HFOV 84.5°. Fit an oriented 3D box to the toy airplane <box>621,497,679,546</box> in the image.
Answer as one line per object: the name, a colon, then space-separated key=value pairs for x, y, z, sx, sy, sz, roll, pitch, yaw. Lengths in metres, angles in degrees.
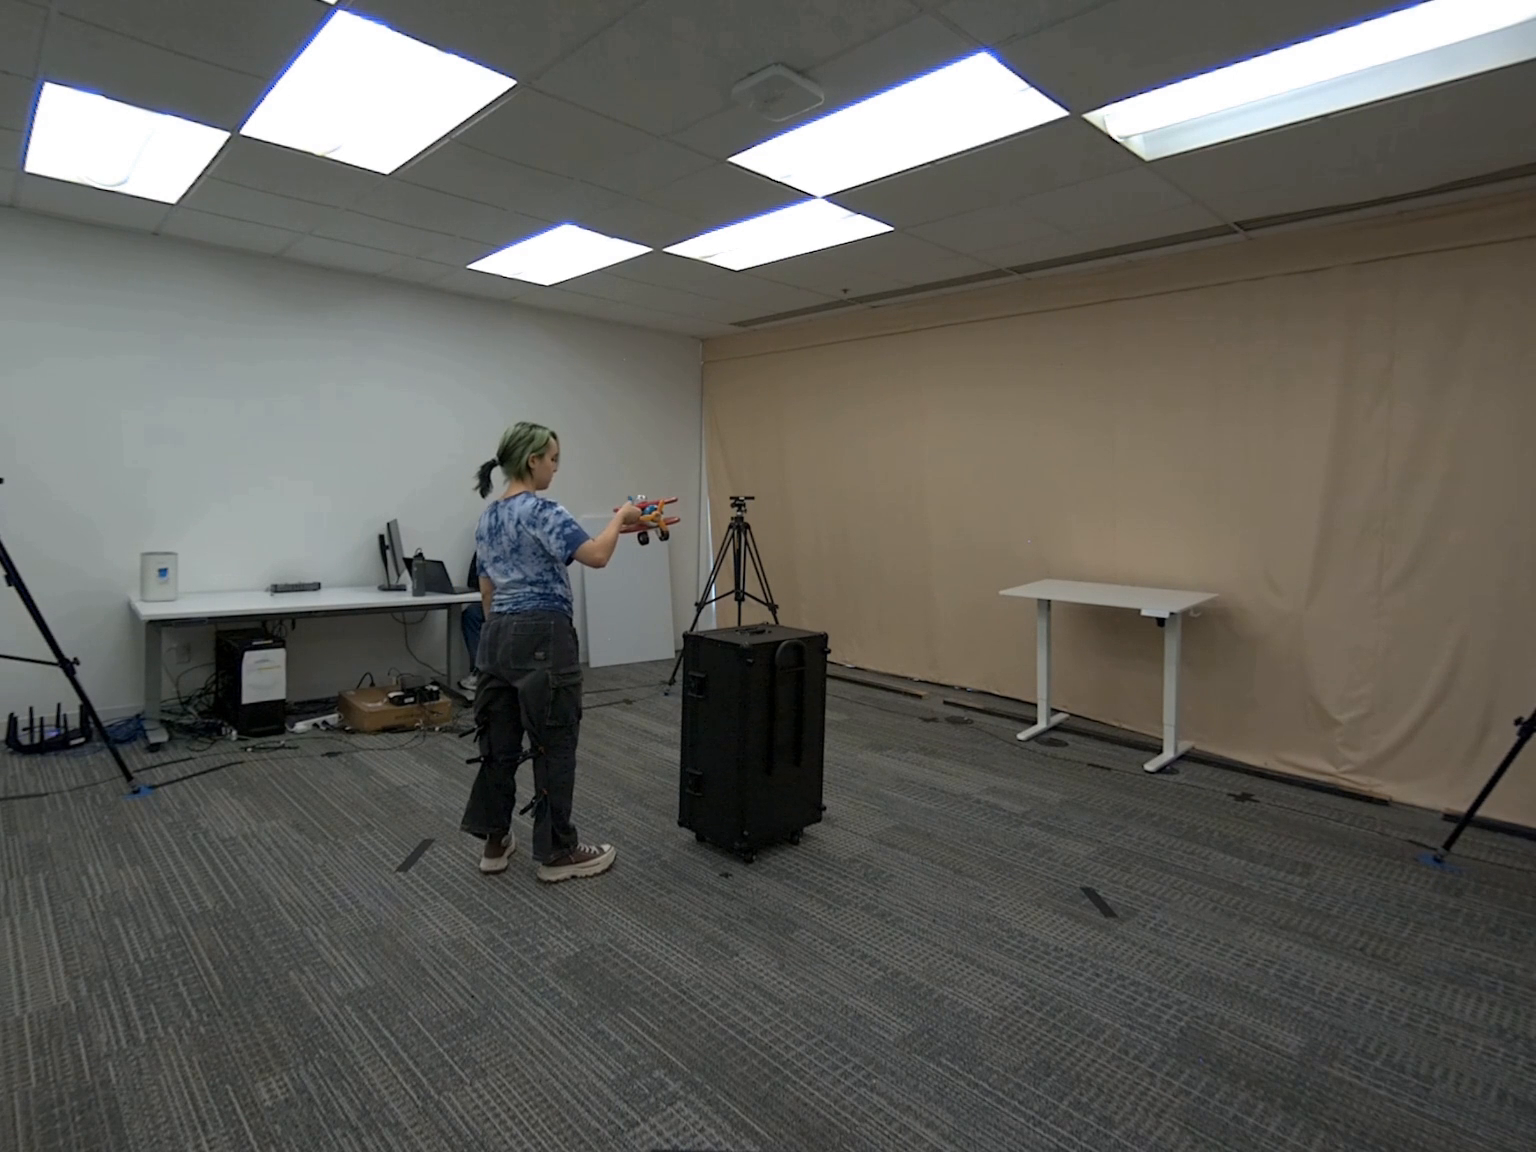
toy airplane: x=-0.501 y=-0.220 z=3.219 sx=0.265 sy=0.154 sz=0.249 roll=14 pitch=28 yaw=29
